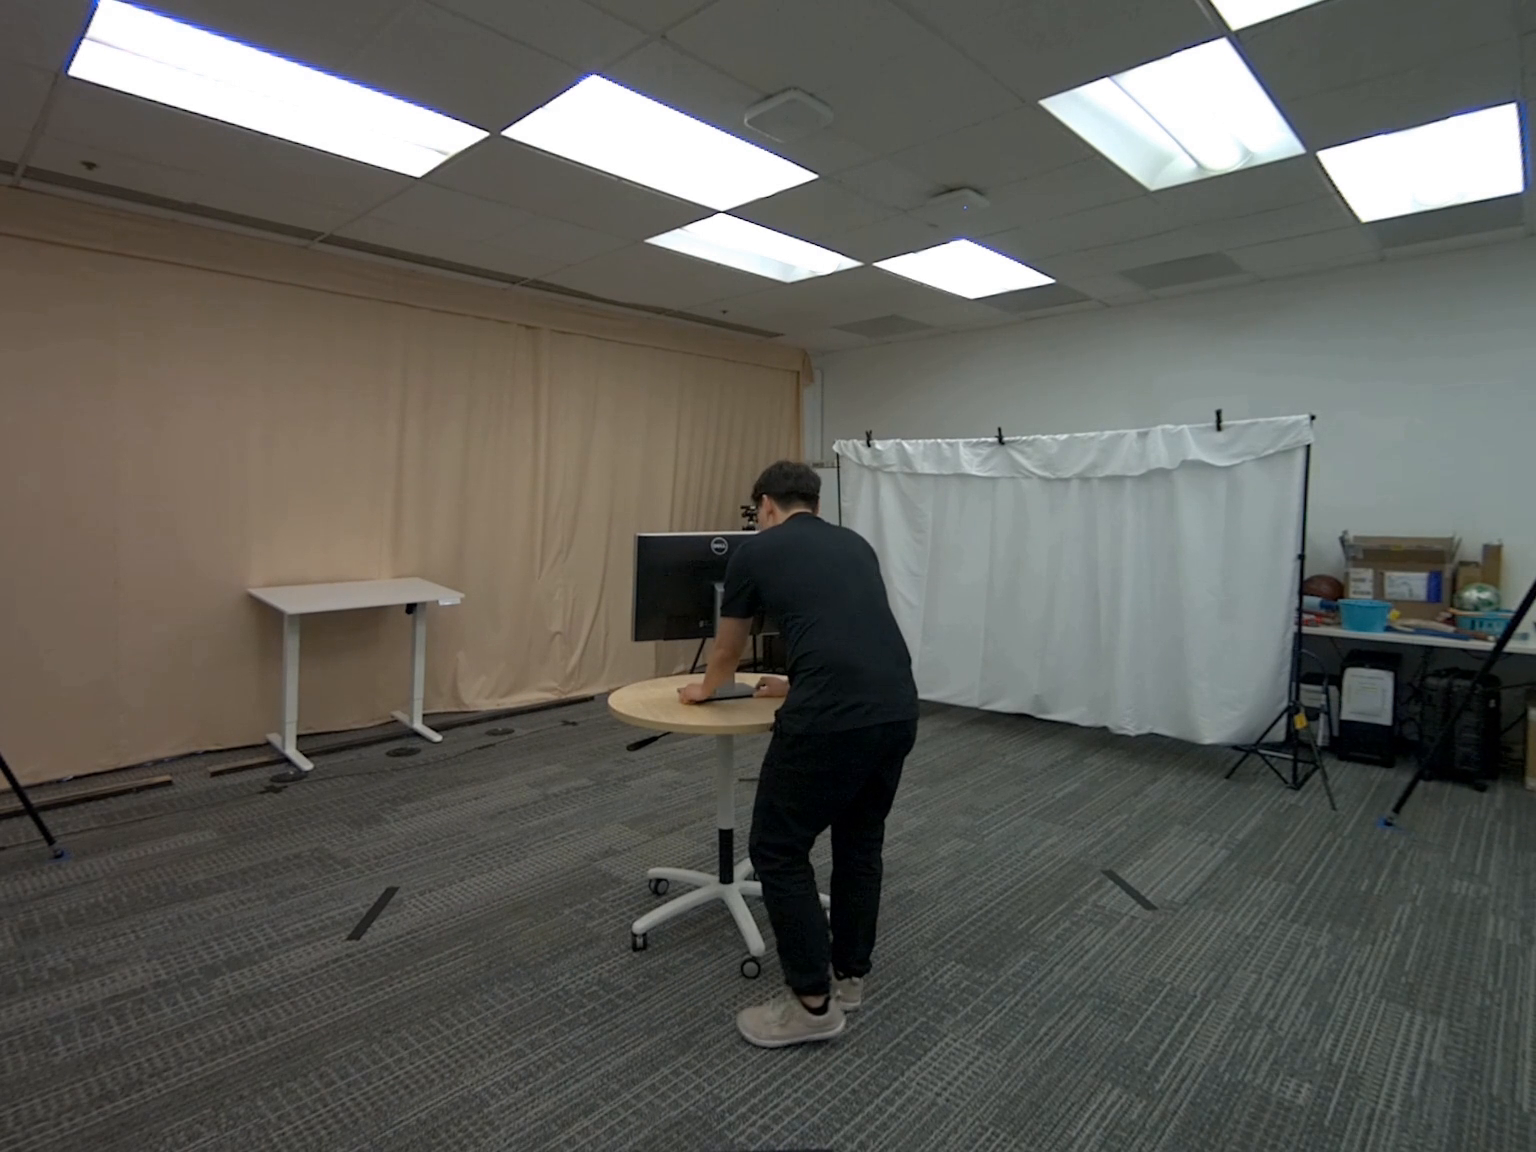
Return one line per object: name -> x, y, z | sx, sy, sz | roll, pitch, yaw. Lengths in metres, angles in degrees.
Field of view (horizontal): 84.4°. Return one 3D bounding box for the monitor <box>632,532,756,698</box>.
monitor -> -0.167, 0.130, 2.800 | 0.527, 0.522, 0.191 | -2, 0, -23
